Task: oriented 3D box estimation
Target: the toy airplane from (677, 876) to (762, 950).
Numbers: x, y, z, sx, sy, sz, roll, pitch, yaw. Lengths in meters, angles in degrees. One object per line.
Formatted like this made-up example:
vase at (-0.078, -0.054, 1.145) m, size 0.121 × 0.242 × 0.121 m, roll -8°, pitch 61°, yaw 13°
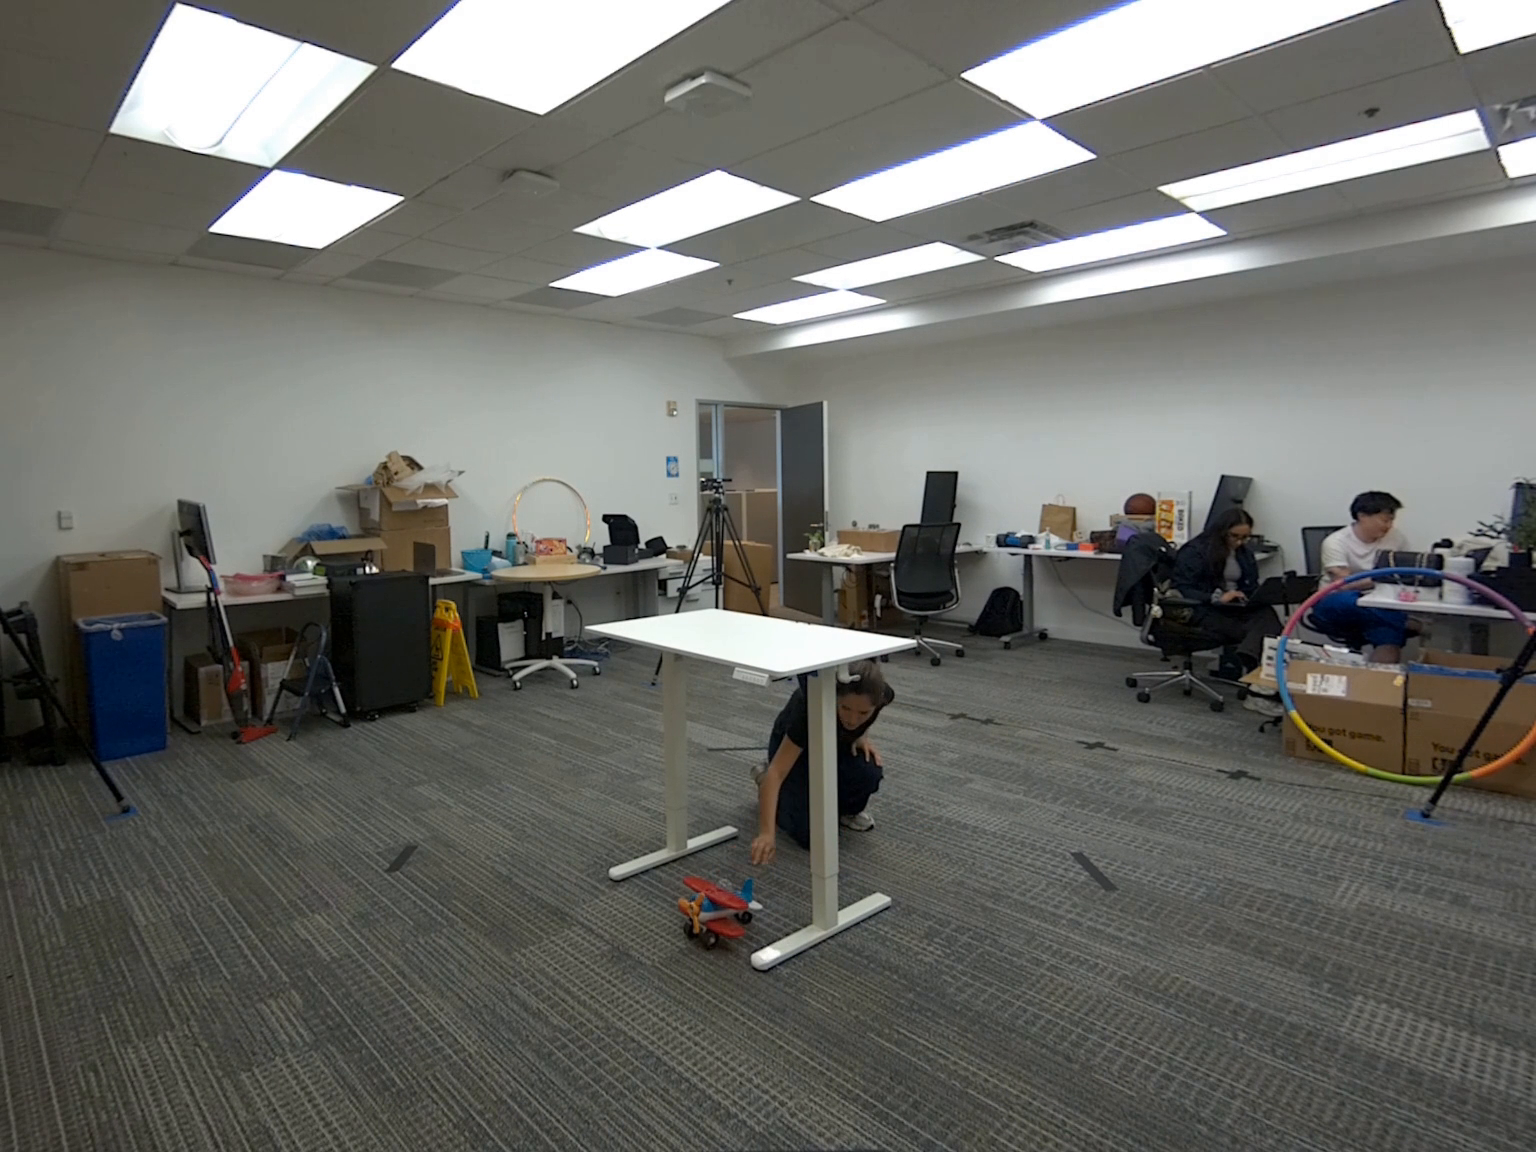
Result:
toy airplane at (-0.151, 1.026, 2.659) m, size 0.255 × 0.155 × 0.257 m, roll 2°, pitch 9°, yaw 16°
